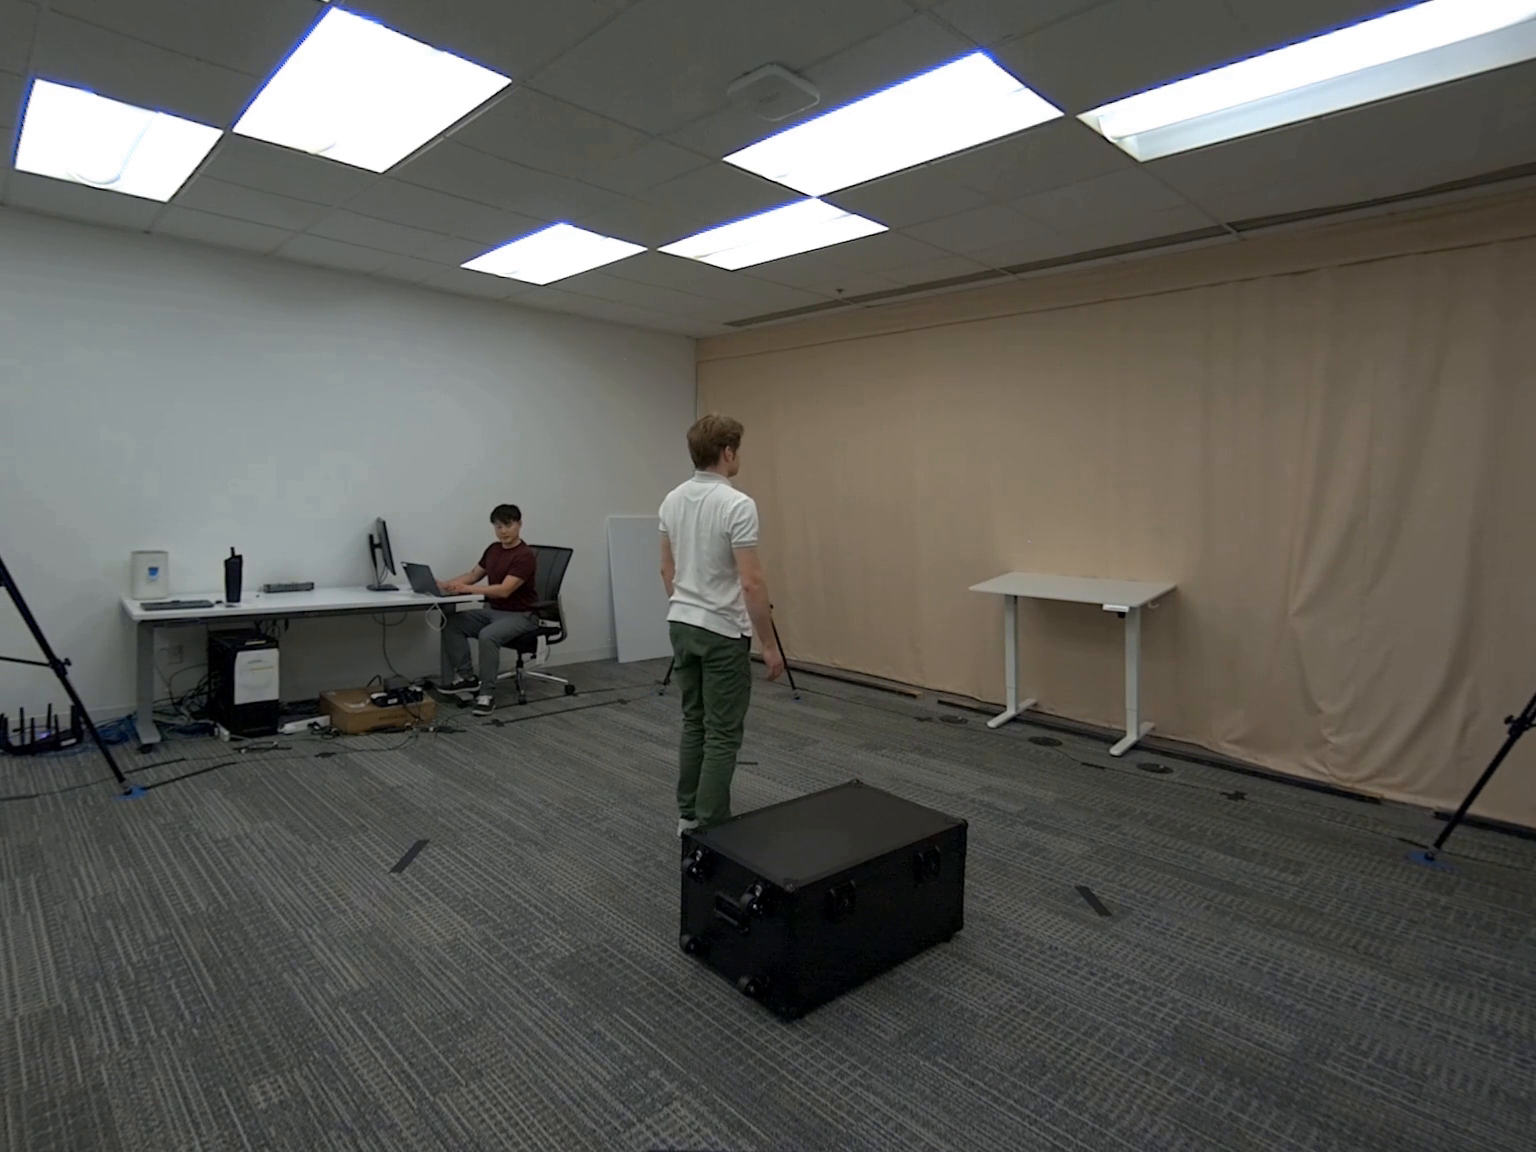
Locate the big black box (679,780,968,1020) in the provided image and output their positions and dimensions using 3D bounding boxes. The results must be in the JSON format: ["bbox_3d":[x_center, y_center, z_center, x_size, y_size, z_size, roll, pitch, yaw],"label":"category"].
[{"bbox_3d":[0.149,0.962,2.608,0.849,0.384,0.537,-3,8,-41],"label":"big black box"}]
